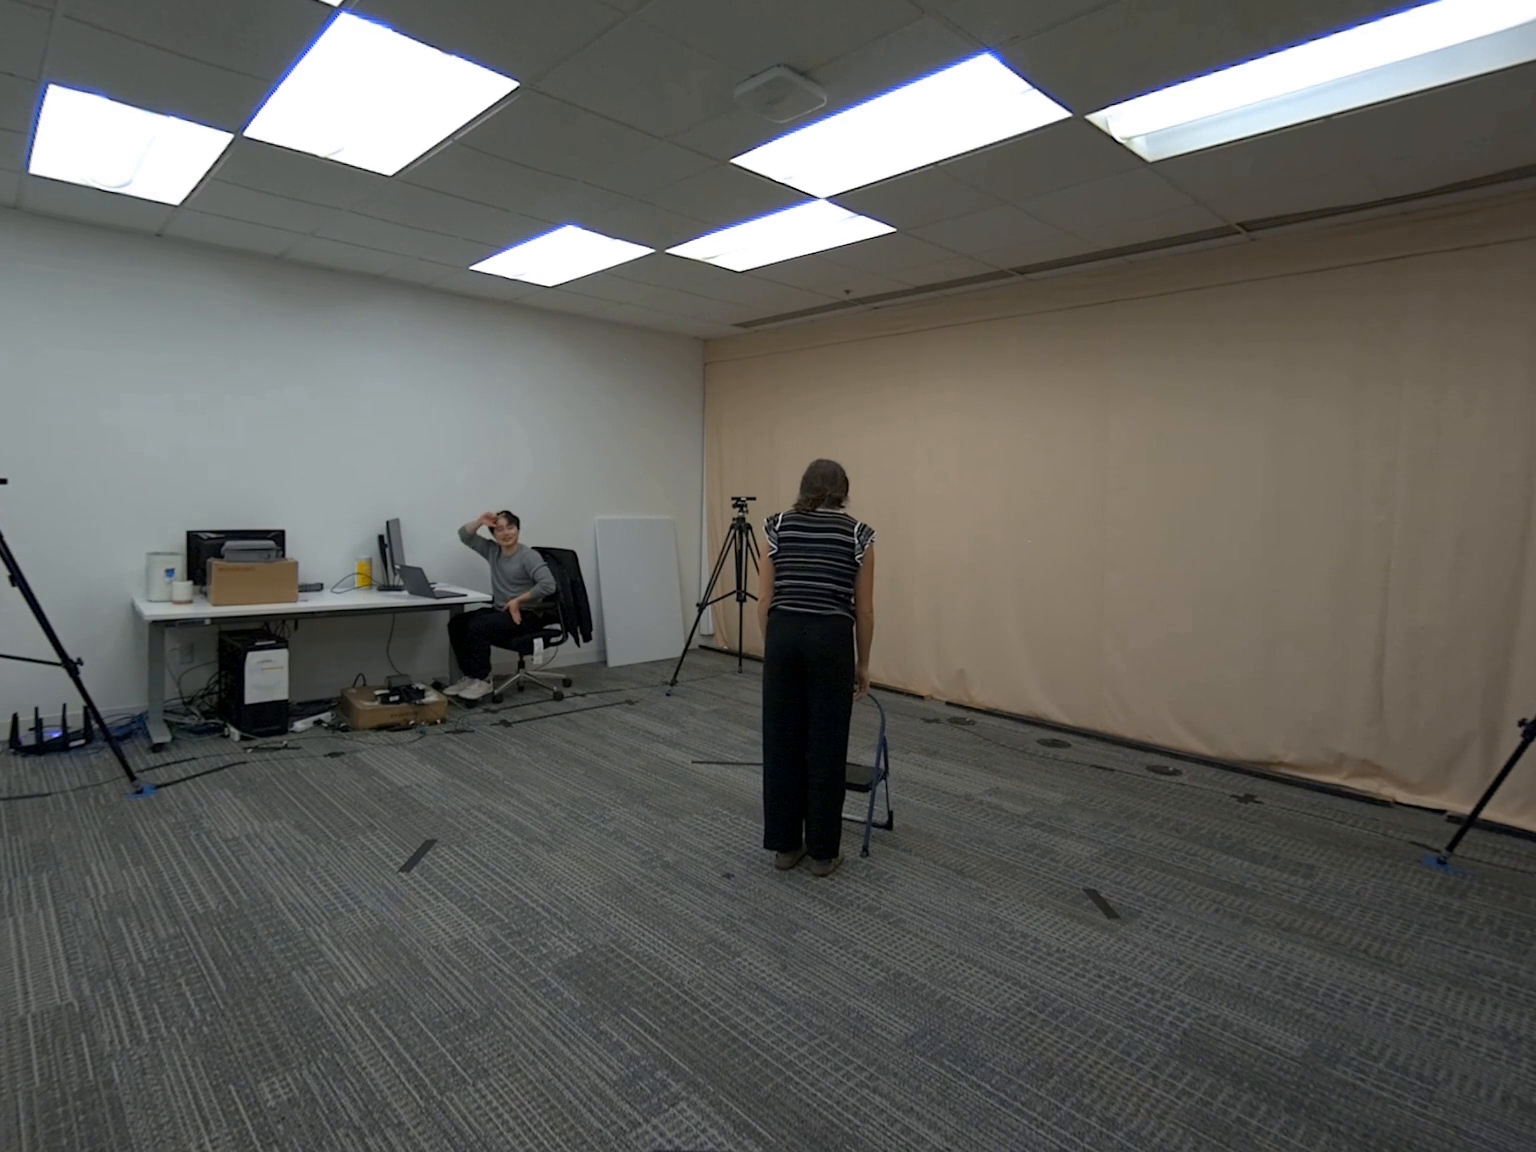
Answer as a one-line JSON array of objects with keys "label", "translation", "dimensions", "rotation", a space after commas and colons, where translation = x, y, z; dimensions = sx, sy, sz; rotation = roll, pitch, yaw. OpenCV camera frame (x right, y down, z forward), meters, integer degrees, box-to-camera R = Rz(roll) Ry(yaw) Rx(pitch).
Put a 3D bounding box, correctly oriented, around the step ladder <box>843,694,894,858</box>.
[{"label": "step ladder", "translation": [0.281, 0.780, 3.540], "dimensions": [0.440, 0.605, 0.342], "rotation": [3, 3, 29]}]
